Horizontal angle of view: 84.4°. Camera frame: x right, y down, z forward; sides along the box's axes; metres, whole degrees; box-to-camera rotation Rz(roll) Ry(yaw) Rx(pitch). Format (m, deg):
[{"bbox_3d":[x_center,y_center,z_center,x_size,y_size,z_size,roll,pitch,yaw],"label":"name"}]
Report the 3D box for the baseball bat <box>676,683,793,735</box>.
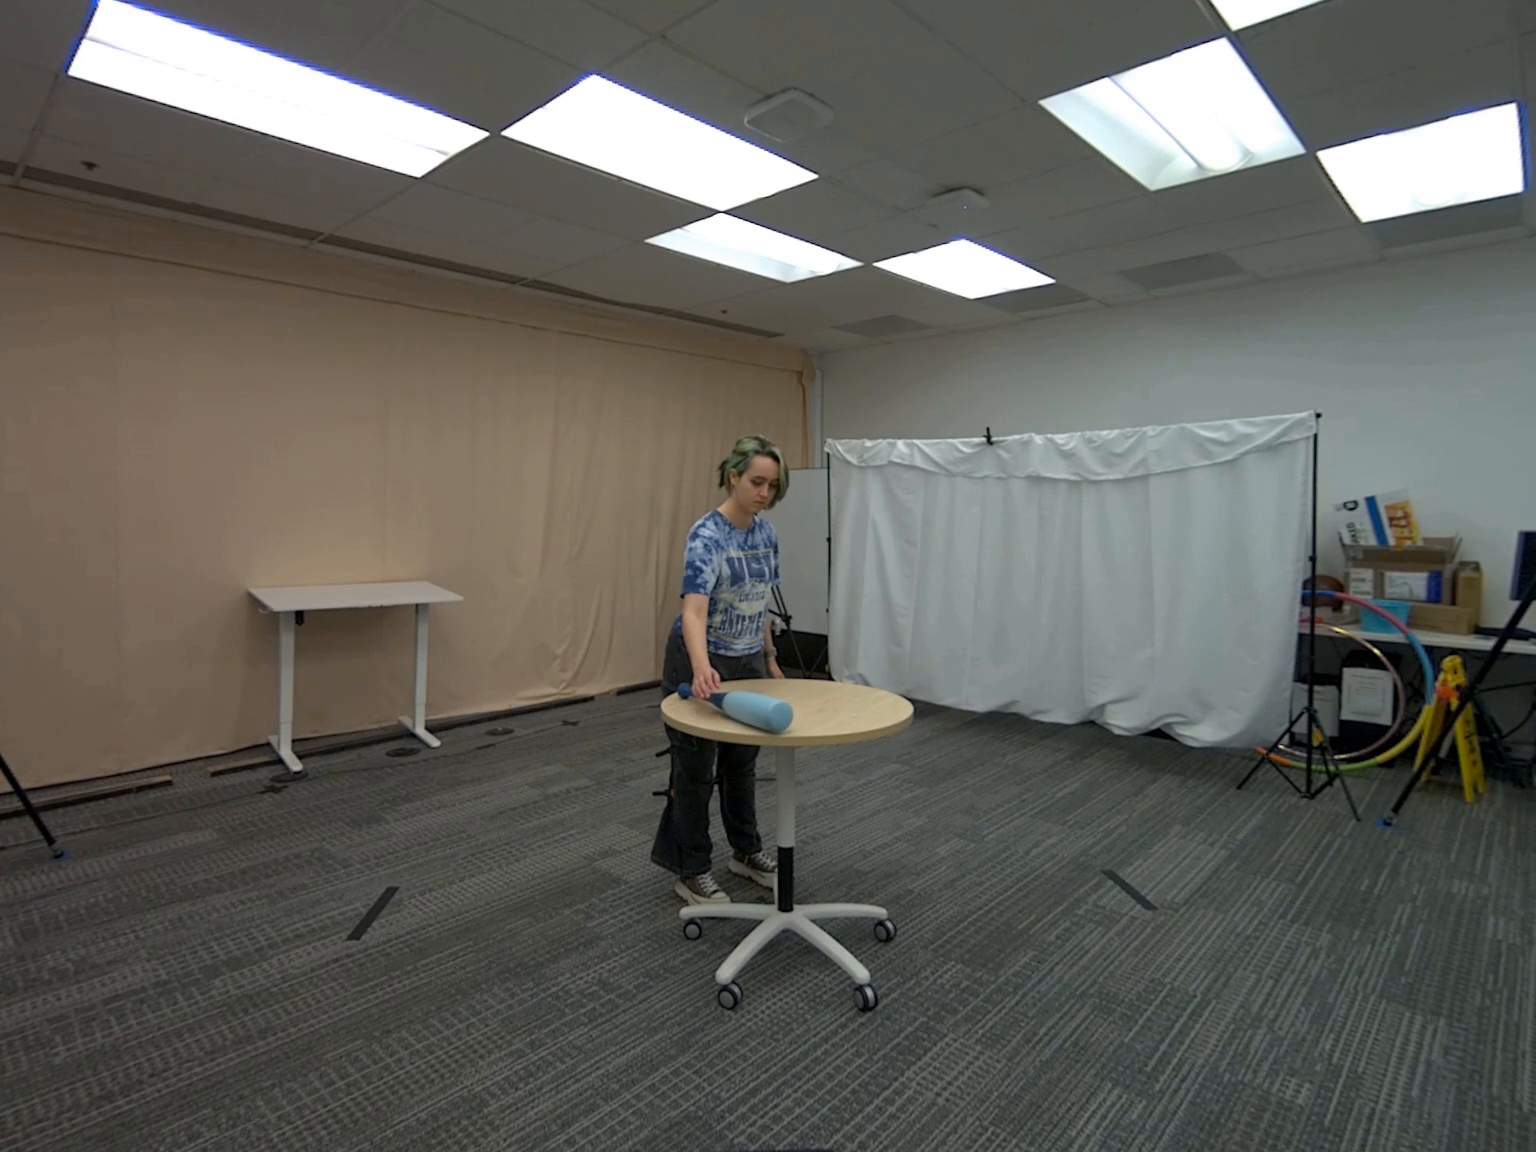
[{"bbox_3d":[-0.117,0.370,2.436,0.086,0.089,0.558,-2,1,-33],"label":"baseball bat"}]
